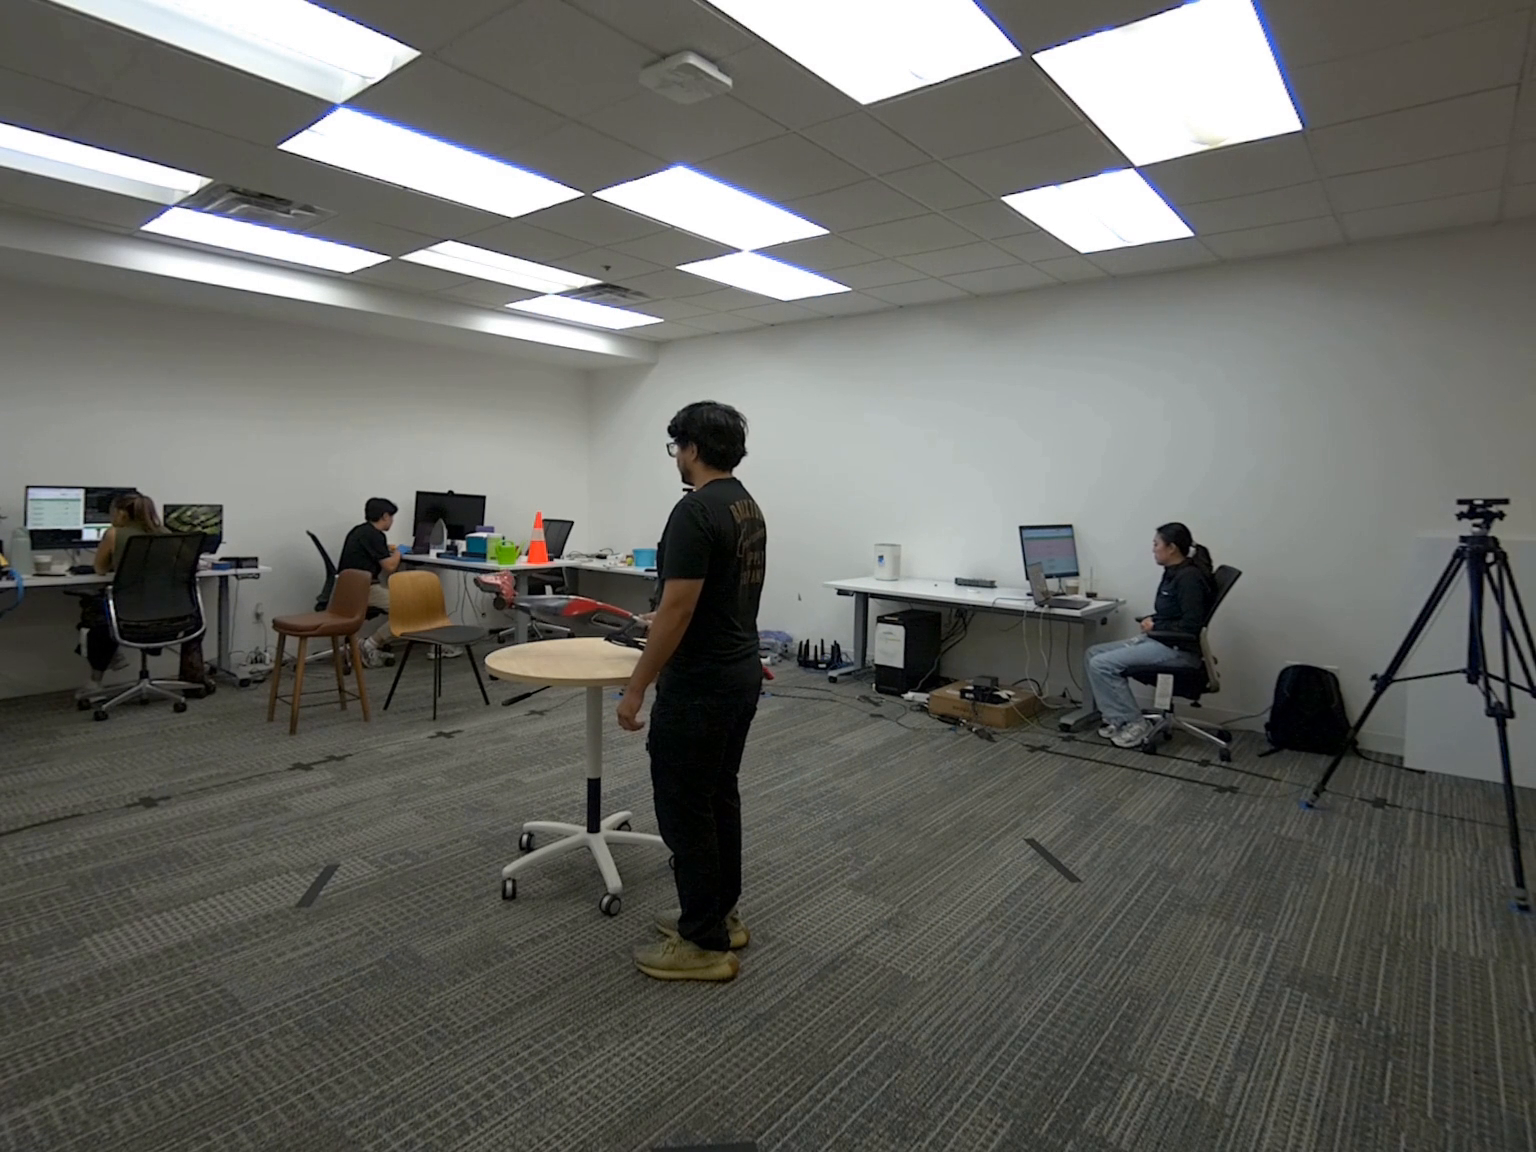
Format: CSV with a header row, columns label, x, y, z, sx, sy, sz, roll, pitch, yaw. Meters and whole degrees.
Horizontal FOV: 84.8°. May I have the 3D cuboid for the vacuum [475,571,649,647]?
label,x,y,z,sx,sy,sz,roll,pitch,yaw
vacuum,-0.514,0.192,3.028,1.066,0.143,0.250,16,8,12
